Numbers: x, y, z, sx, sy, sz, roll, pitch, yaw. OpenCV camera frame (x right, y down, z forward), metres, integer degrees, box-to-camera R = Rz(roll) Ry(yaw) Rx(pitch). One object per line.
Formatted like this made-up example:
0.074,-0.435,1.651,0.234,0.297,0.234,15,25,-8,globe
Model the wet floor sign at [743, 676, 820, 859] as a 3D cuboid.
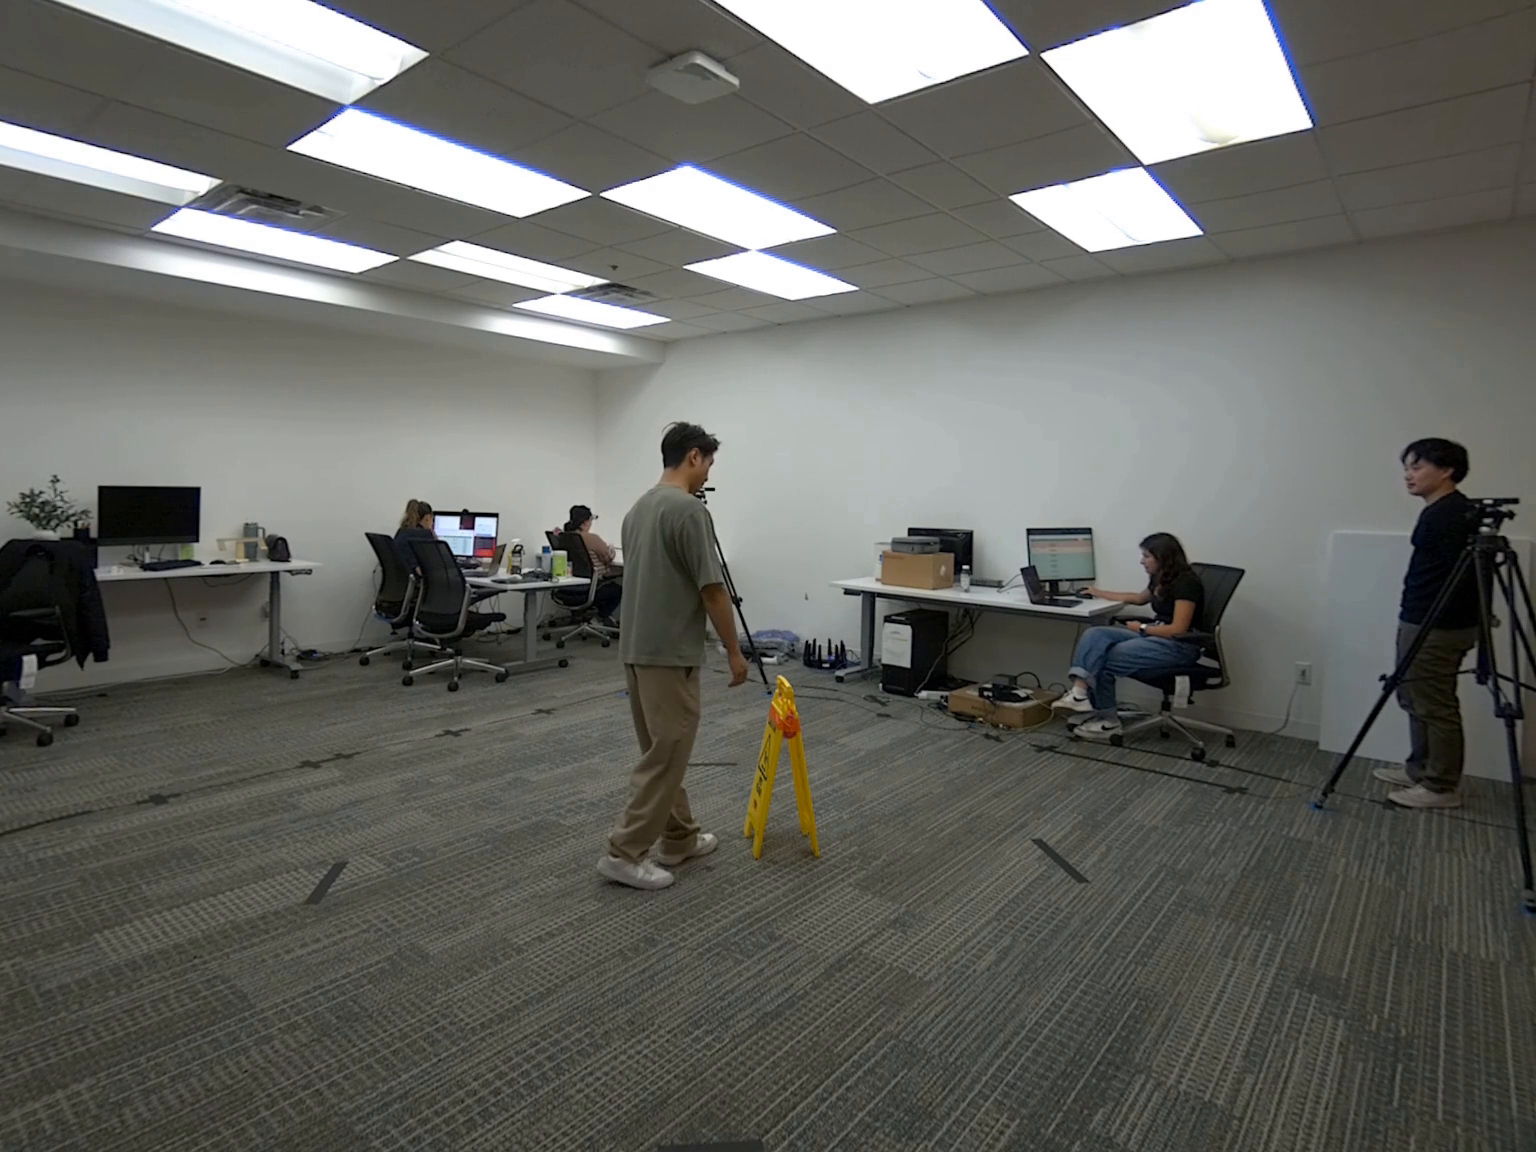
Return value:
0.047,0.730,3.320,0.287,0.644,0.286,2,4,-9,wet floor sign
